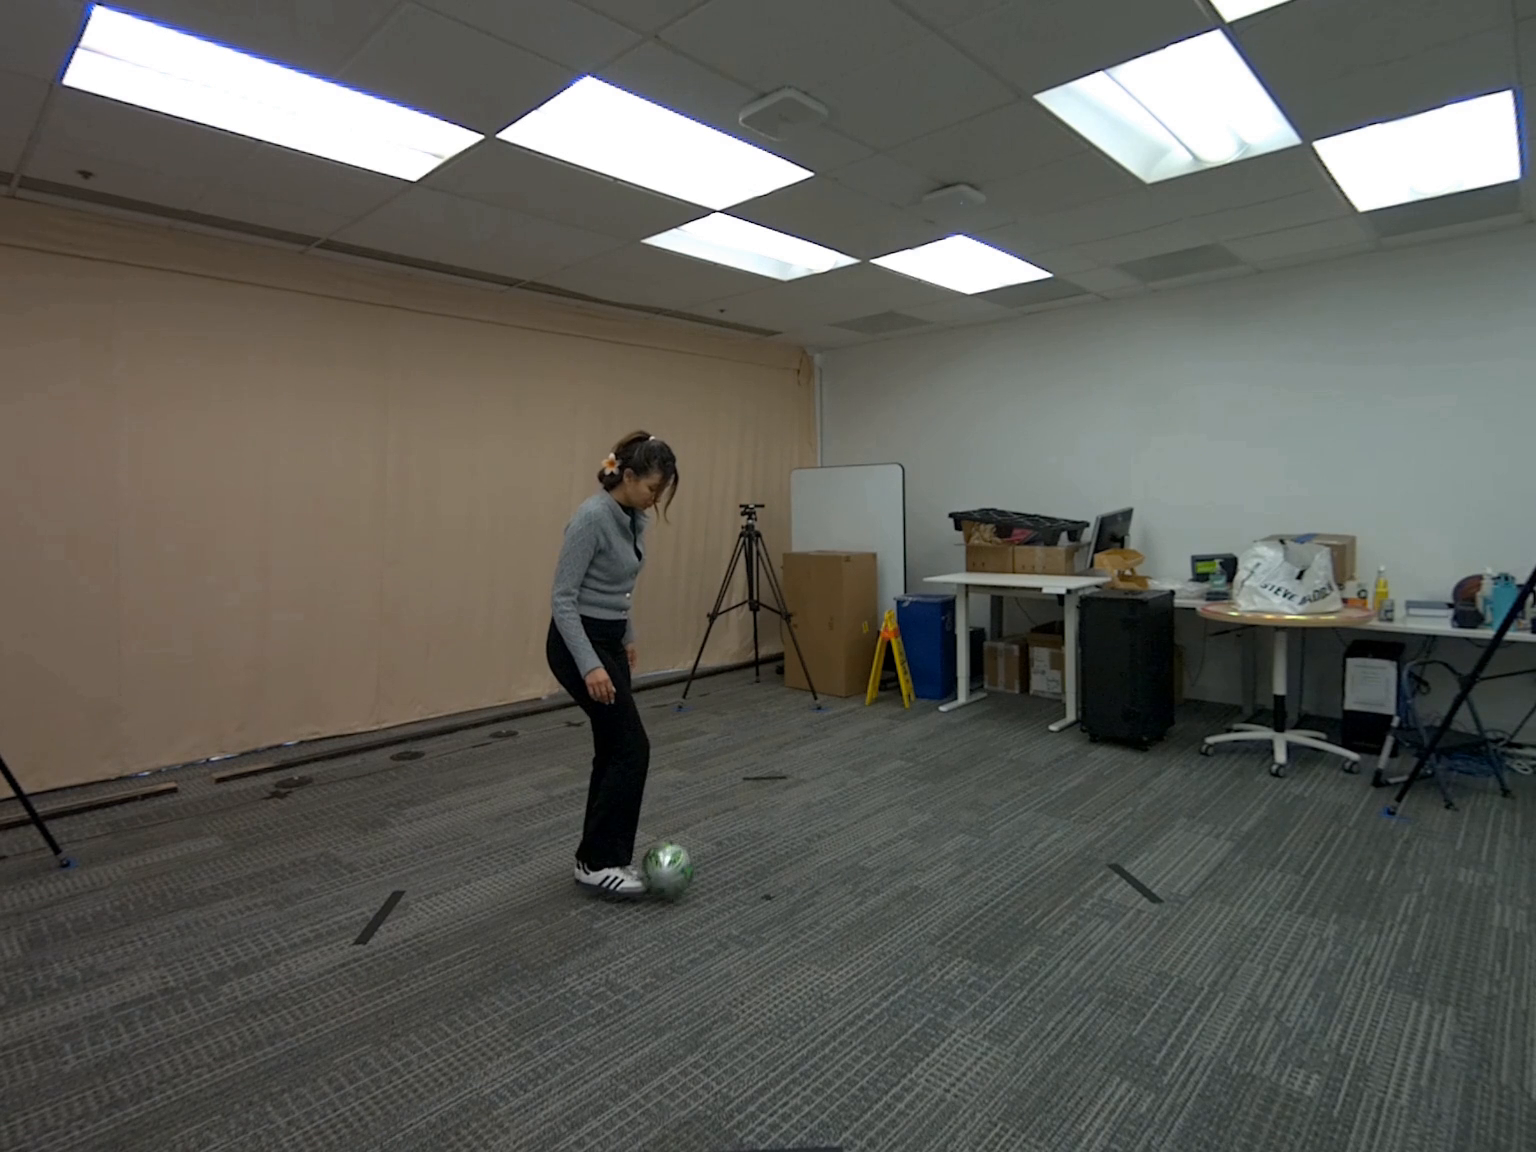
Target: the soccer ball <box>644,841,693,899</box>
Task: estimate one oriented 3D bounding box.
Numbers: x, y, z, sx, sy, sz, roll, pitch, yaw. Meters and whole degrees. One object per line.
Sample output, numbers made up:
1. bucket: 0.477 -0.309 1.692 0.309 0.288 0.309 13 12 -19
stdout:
1. soccer ball: -0.303 1.019 2.967 0.187 0.187 0.188 -1 4 -2
